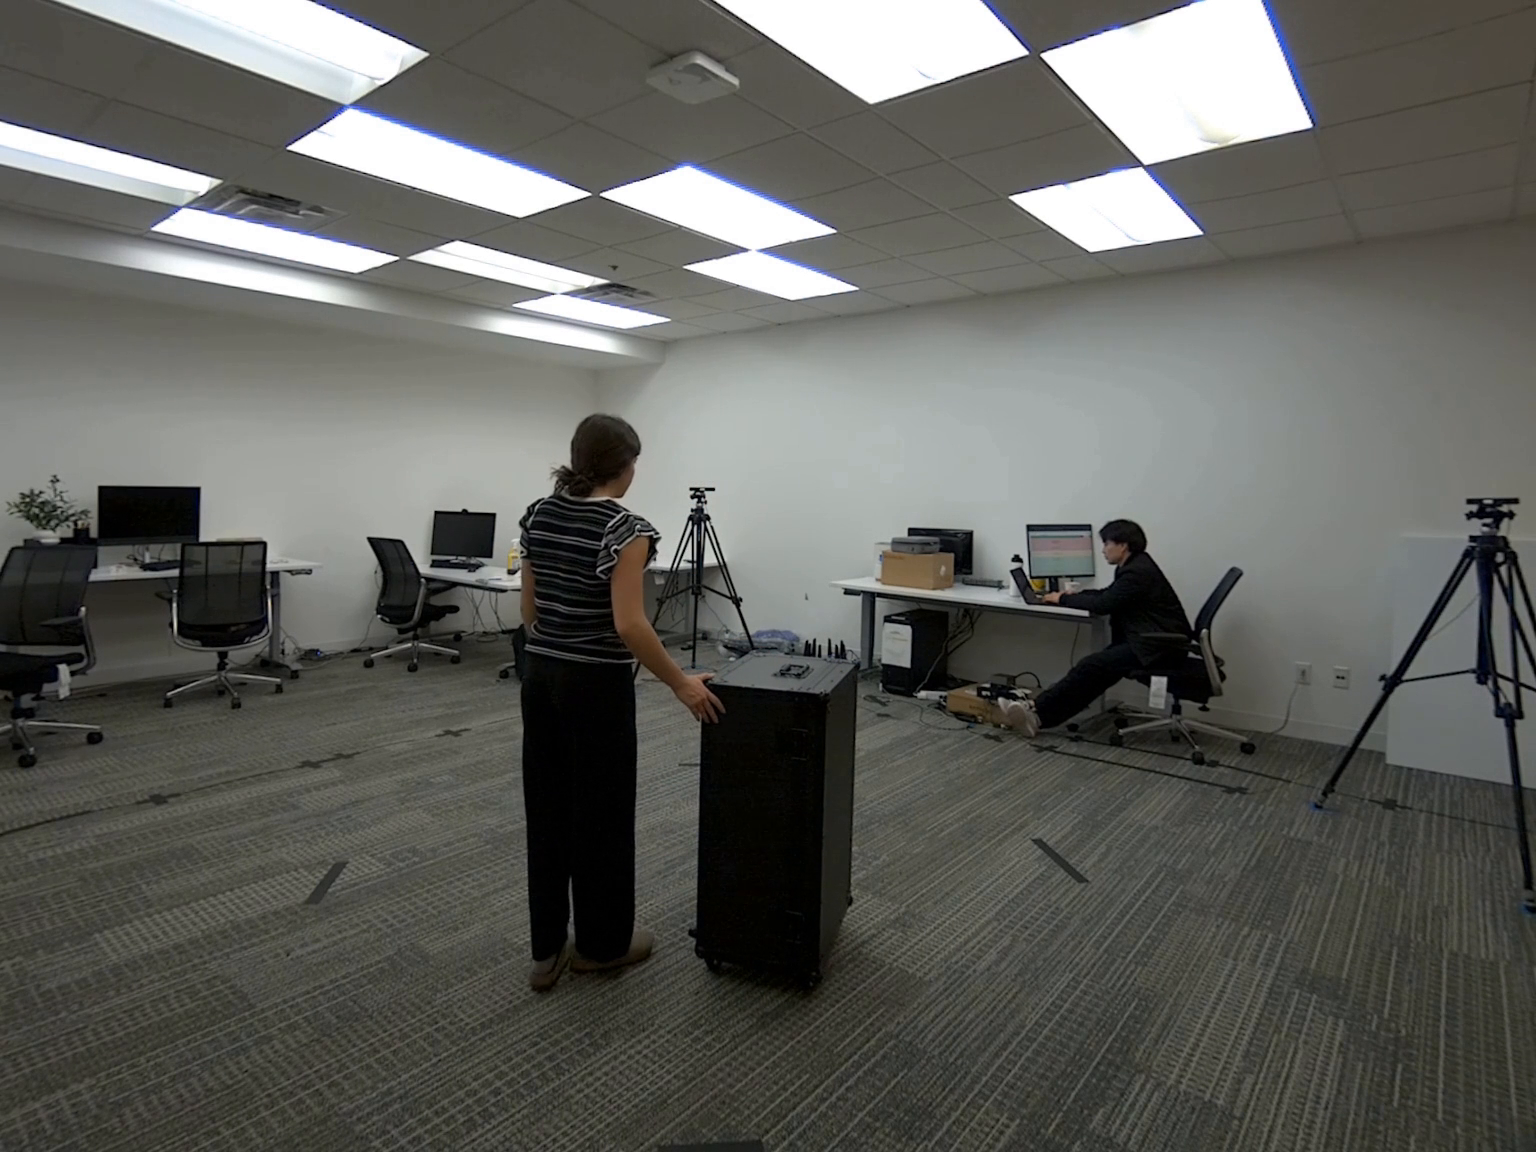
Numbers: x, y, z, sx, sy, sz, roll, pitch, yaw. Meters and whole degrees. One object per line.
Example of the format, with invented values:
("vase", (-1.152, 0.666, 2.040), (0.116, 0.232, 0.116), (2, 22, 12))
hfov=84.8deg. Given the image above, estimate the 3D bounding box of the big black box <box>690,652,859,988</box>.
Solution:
("big black box", (0.017, 0.702, 2.538), (0.404, 0.859, 0.512), (2, 4, 18))
